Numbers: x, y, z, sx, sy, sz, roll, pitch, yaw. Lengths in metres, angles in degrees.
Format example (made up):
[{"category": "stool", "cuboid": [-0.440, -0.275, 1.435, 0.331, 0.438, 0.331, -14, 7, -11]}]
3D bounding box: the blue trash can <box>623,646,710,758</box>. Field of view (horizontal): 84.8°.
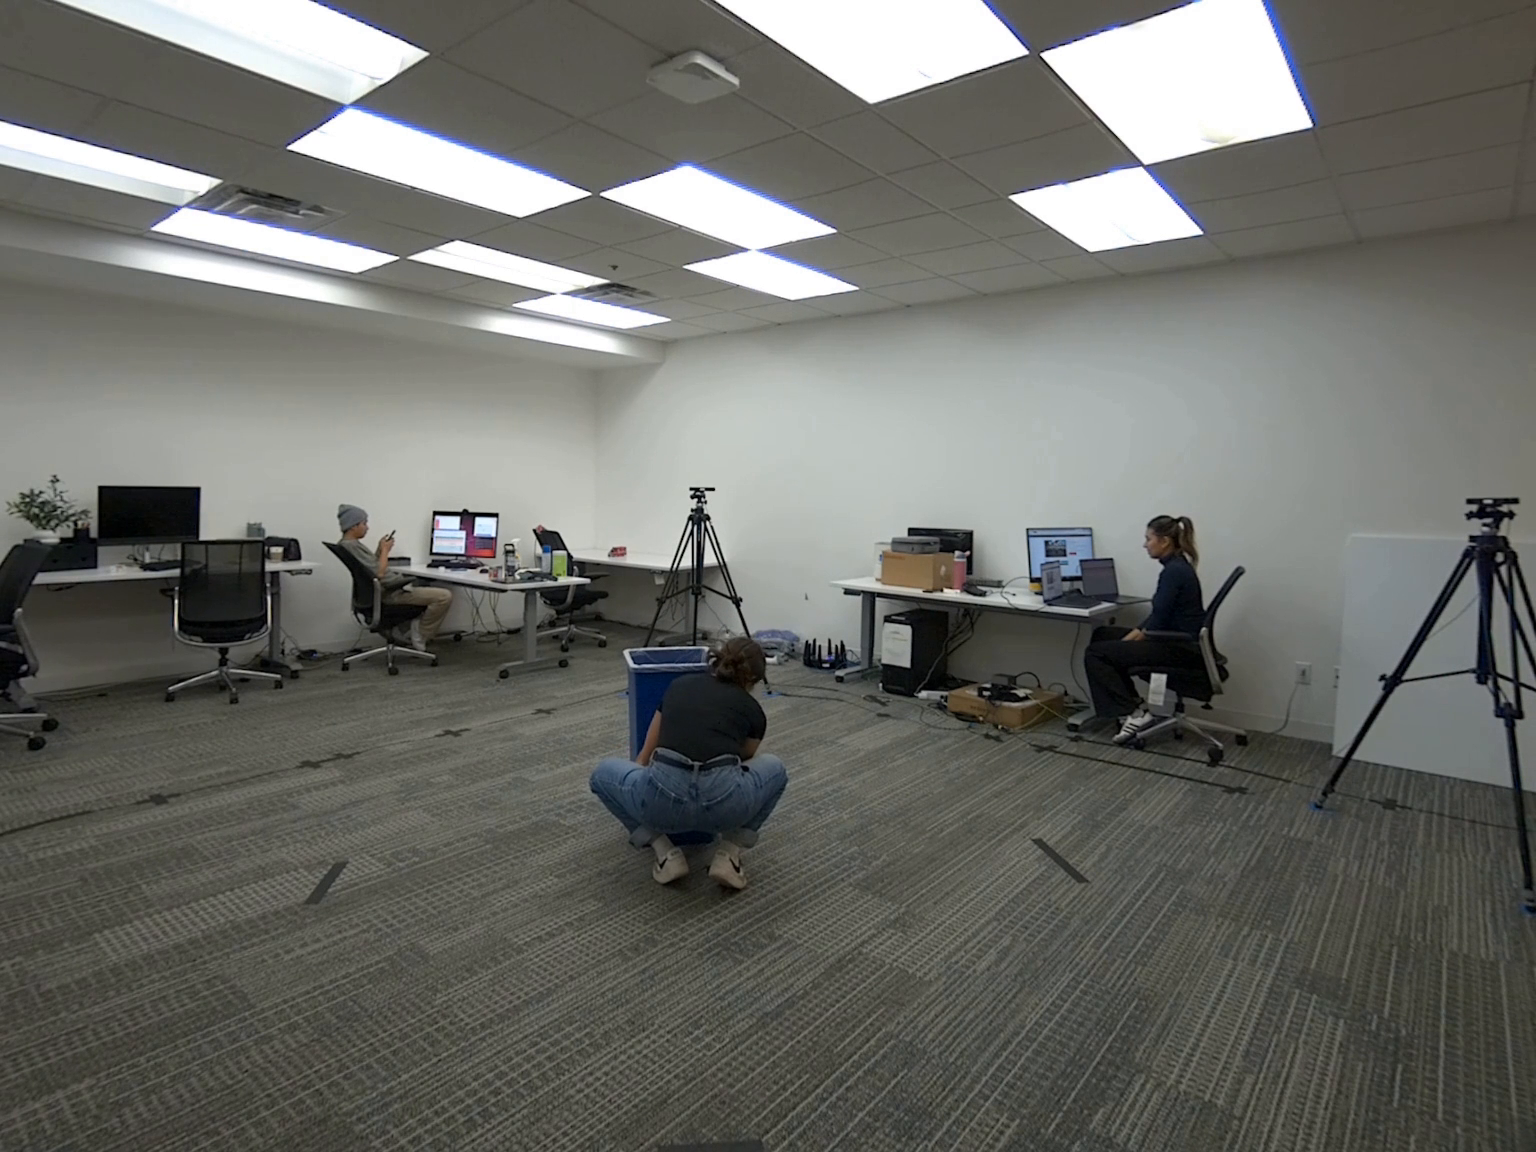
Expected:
[{"category": "blue trash can", "cuboid": [-0.399, 0.671, 3.441, 0.369, 0.711, 0.384, 1, 3, -14]}]
